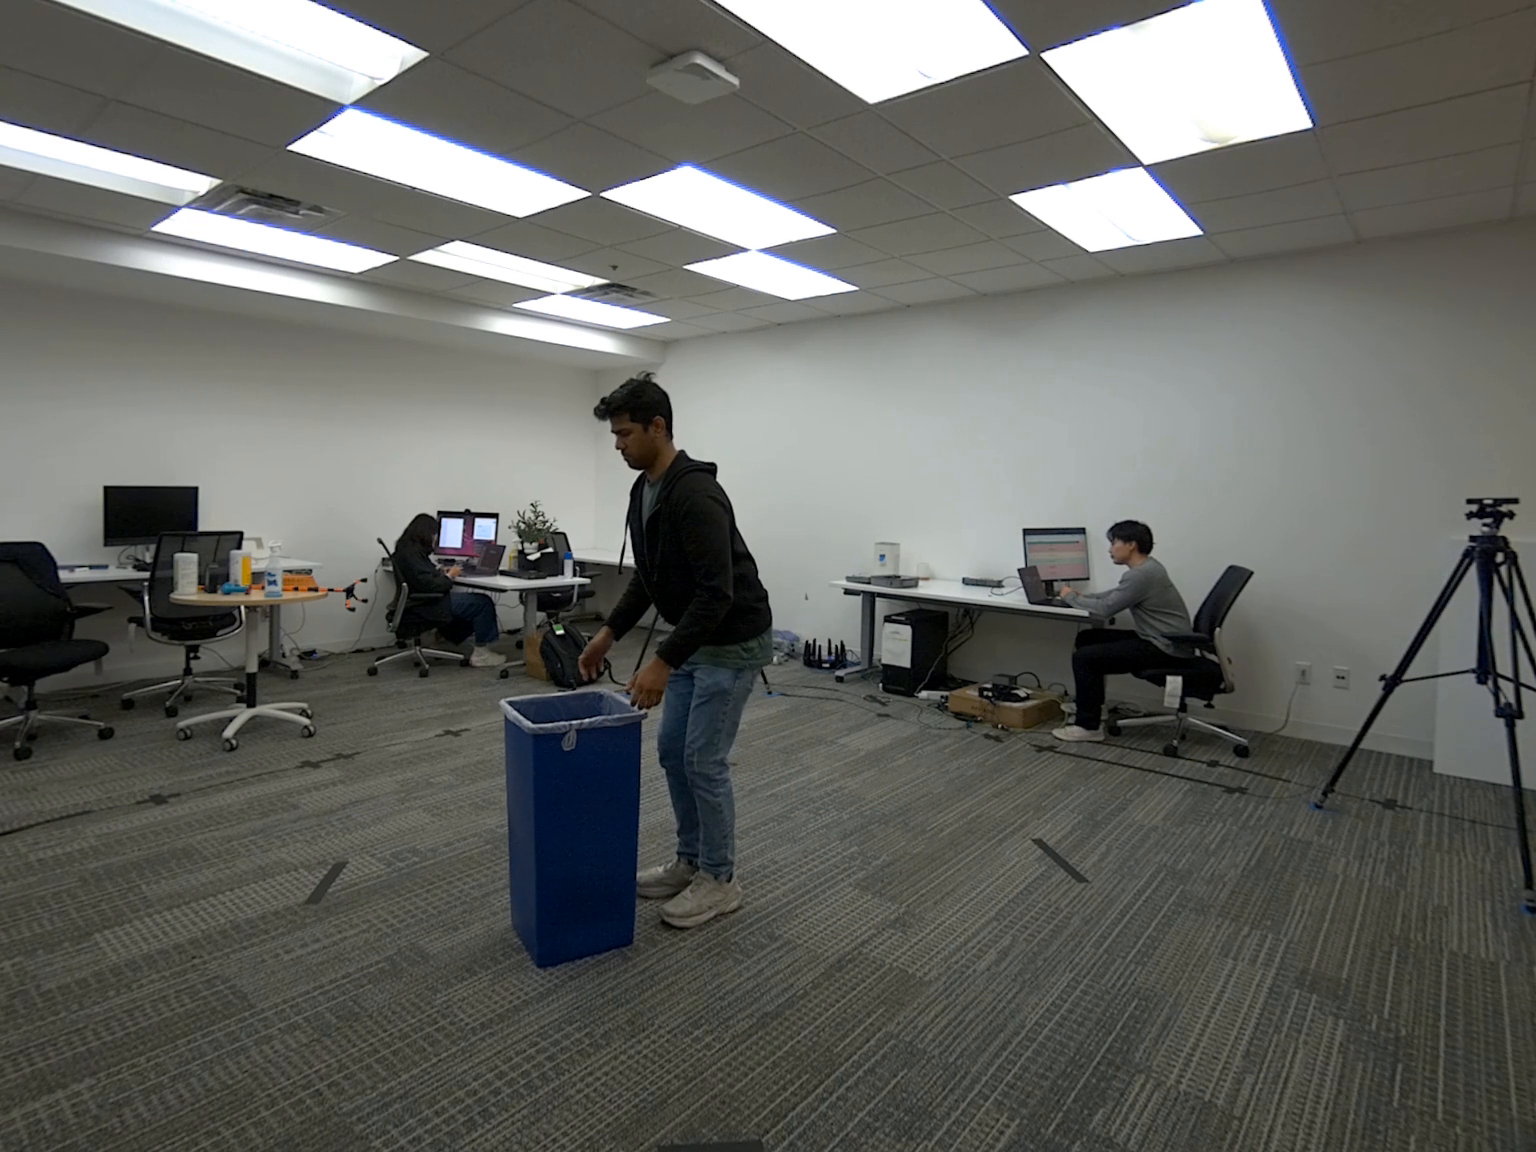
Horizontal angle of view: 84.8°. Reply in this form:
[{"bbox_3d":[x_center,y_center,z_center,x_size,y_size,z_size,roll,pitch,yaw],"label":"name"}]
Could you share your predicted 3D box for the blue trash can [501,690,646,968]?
[{"bbox_3d":[-0.622,0.751,2.623,0.368,0.712,0.385,-1,4,-31],"label":"blue trash can"}]
